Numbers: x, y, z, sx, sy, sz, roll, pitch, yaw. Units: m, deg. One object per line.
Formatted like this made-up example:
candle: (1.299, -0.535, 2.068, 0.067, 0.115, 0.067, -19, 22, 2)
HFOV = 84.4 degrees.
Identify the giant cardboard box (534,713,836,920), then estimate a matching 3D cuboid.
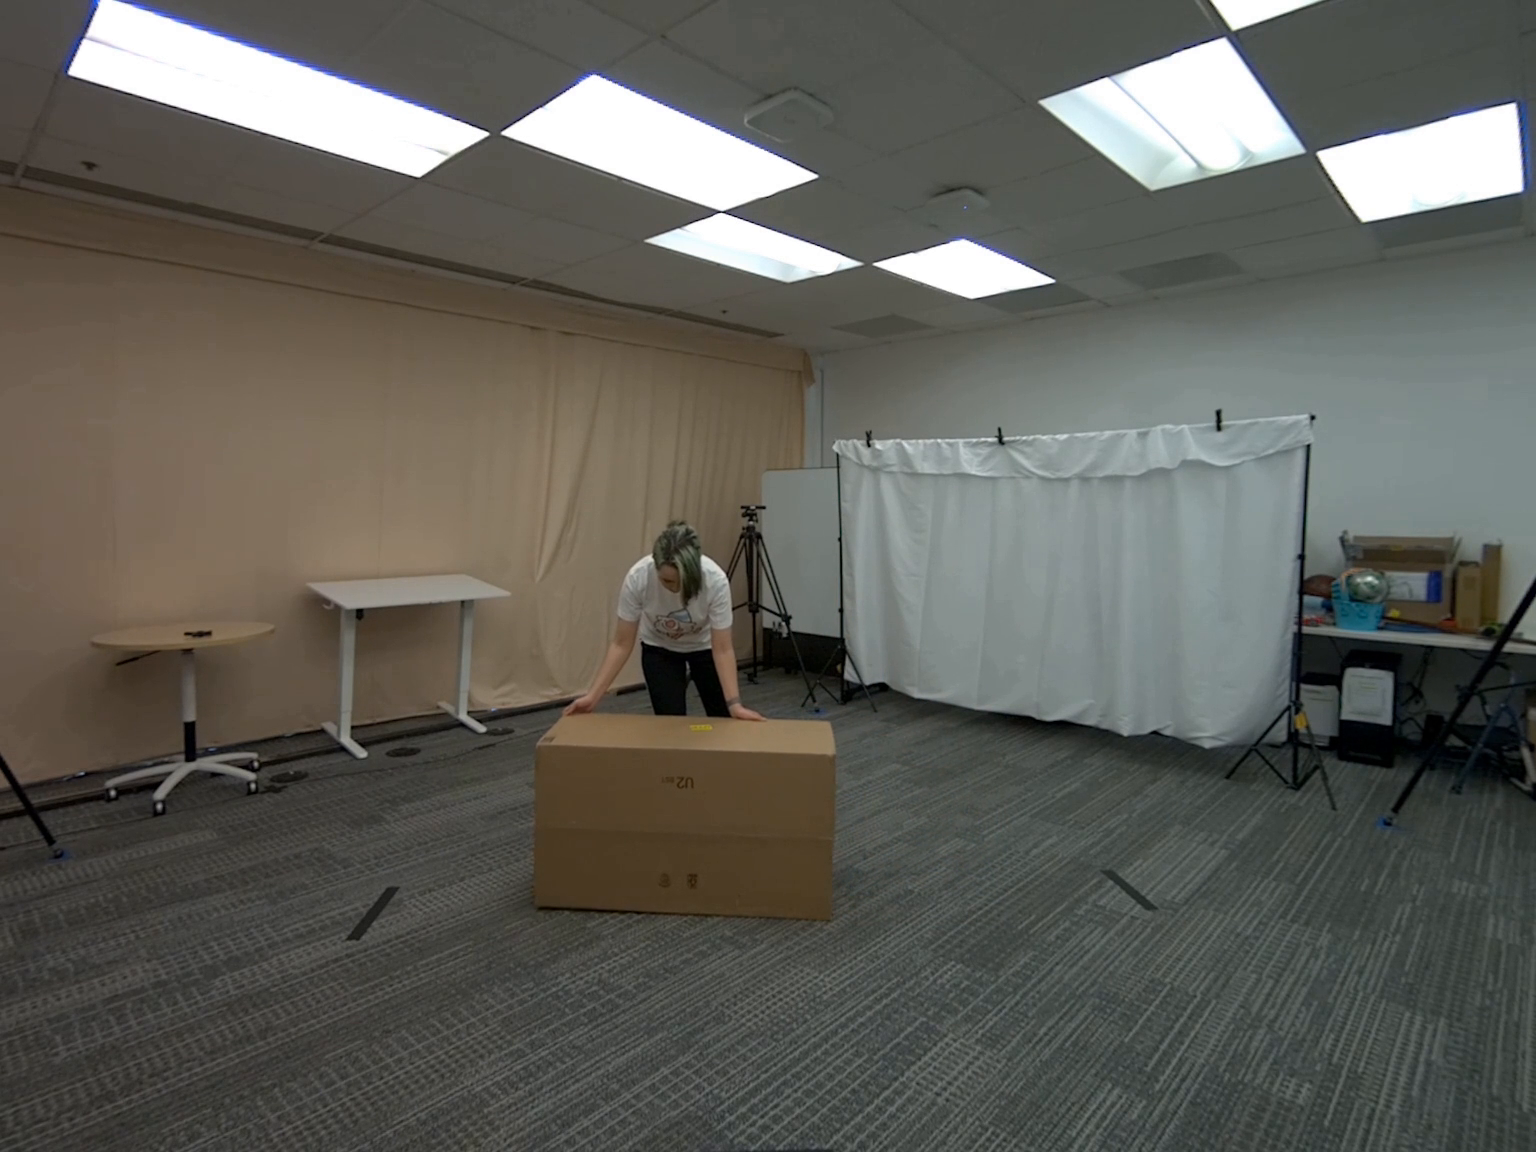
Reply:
giant cardboard box: (-0.282, 0.843, 3.050, 1.031, 0.576, 0.425, 1, 4, 4)
